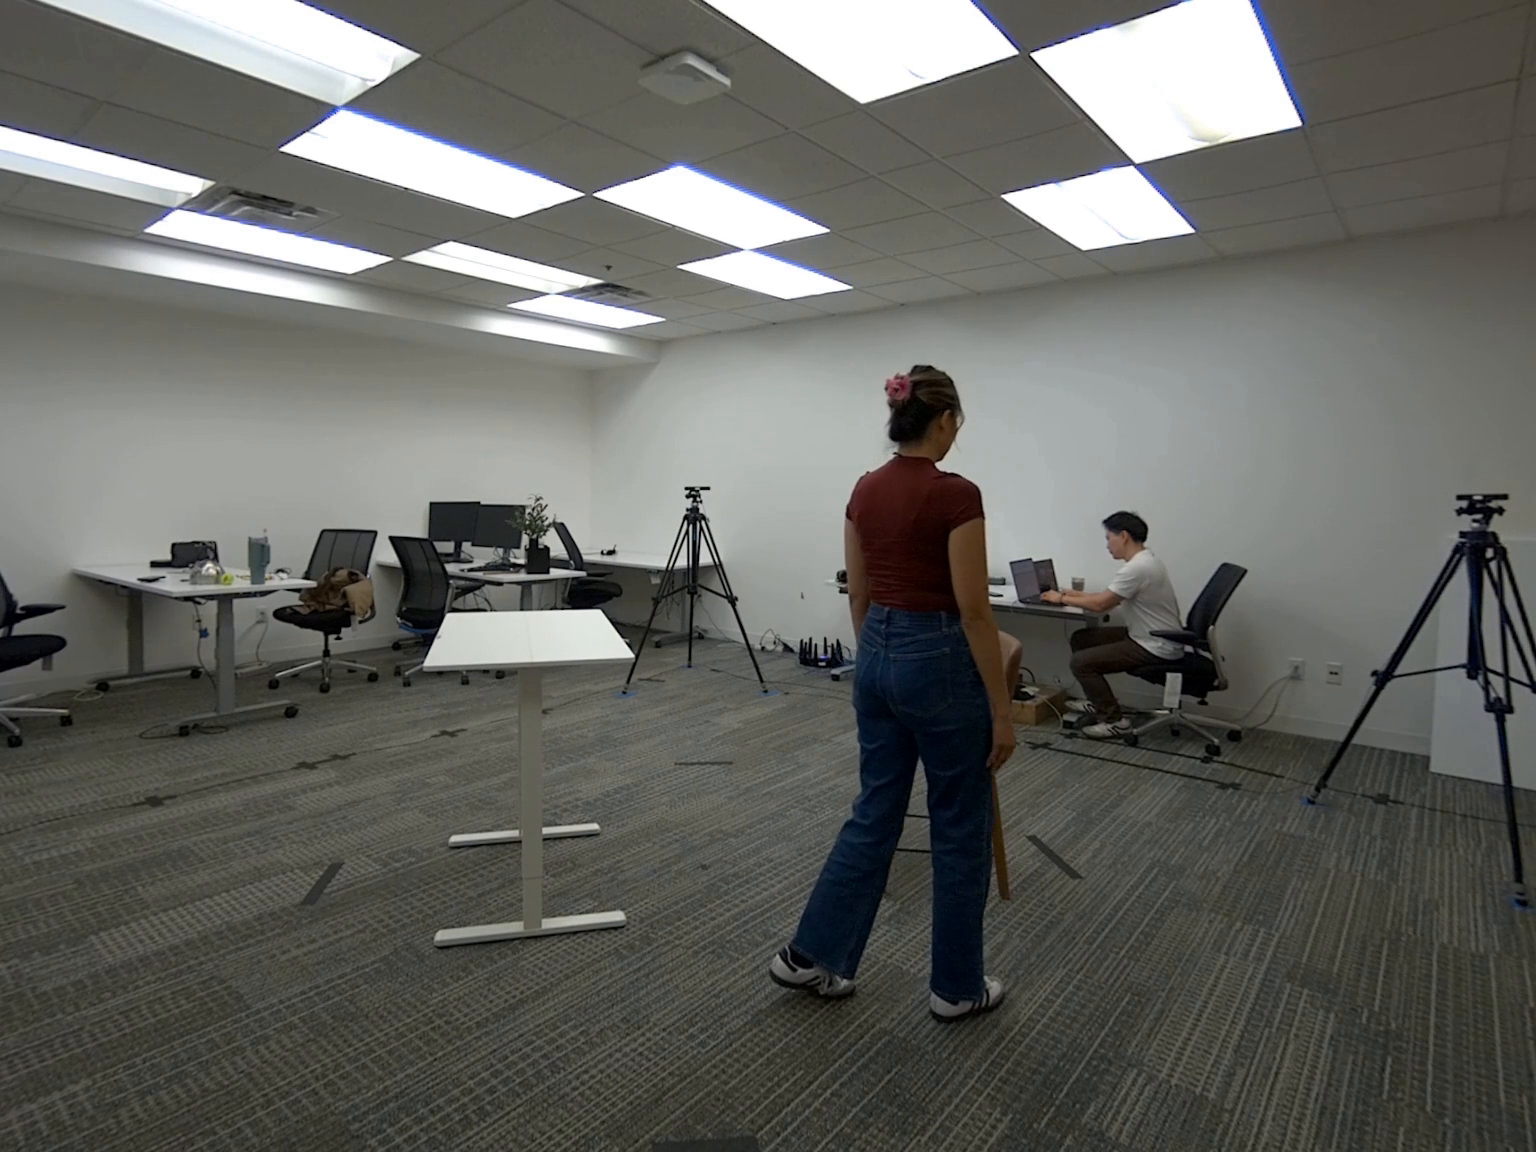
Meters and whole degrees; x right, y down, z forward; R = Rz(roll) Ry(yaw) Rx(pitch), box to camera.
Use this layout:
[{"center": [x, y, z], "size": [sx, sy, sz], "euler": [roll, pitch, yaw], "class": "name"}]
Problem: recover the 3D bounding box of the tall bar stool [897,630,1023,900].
[{"center": [0.615, 0.650, 3.094], "size": [0.471, 0.887, 0.455], "euler": [2, 4, 5], "class": "tall bar stool"}]
